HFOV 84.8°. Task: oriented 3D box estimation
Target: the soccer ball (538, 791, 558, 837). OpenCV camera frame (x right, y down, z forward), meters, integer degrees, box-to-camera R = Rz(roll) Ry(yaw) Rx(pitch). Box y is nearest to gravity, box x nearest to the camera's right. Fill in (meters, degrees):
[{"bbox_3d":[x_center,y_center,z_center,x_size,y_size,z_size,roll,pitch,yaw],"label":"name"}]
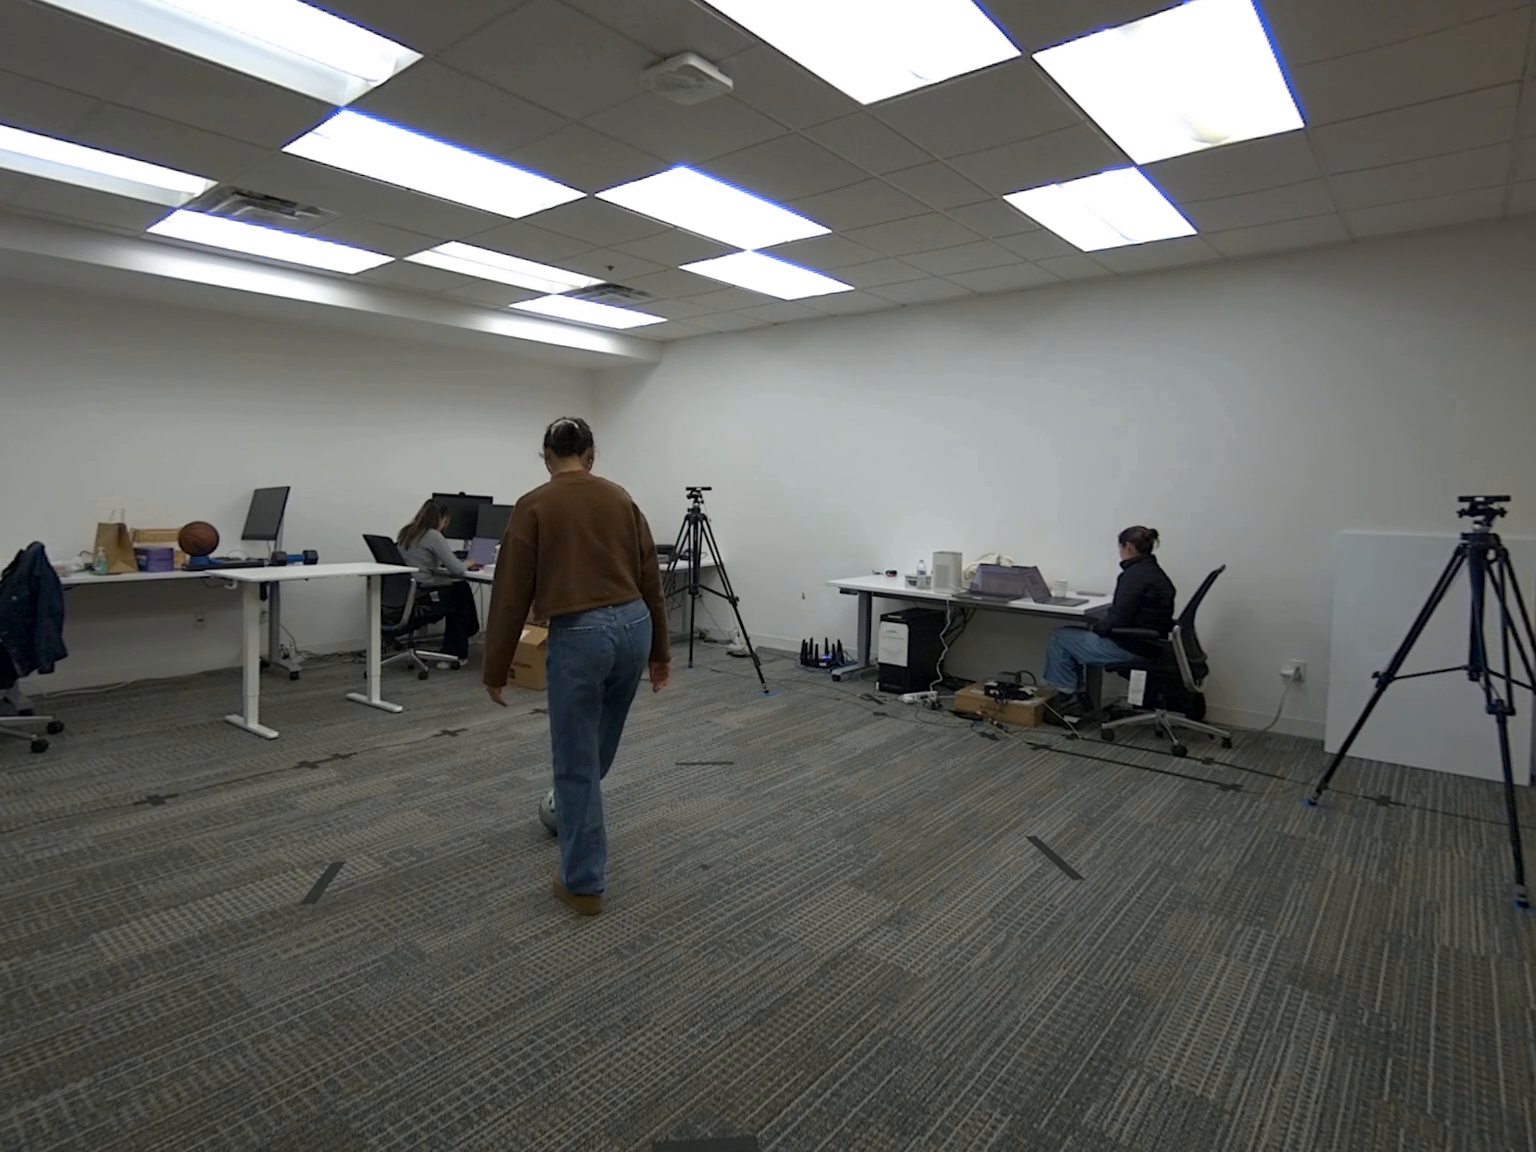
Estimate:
[{"bbox_3d":[-0.821,0.932,3.396,0.187,0.187,0.188,1,4,-2],"label":"soccer ball"}]
